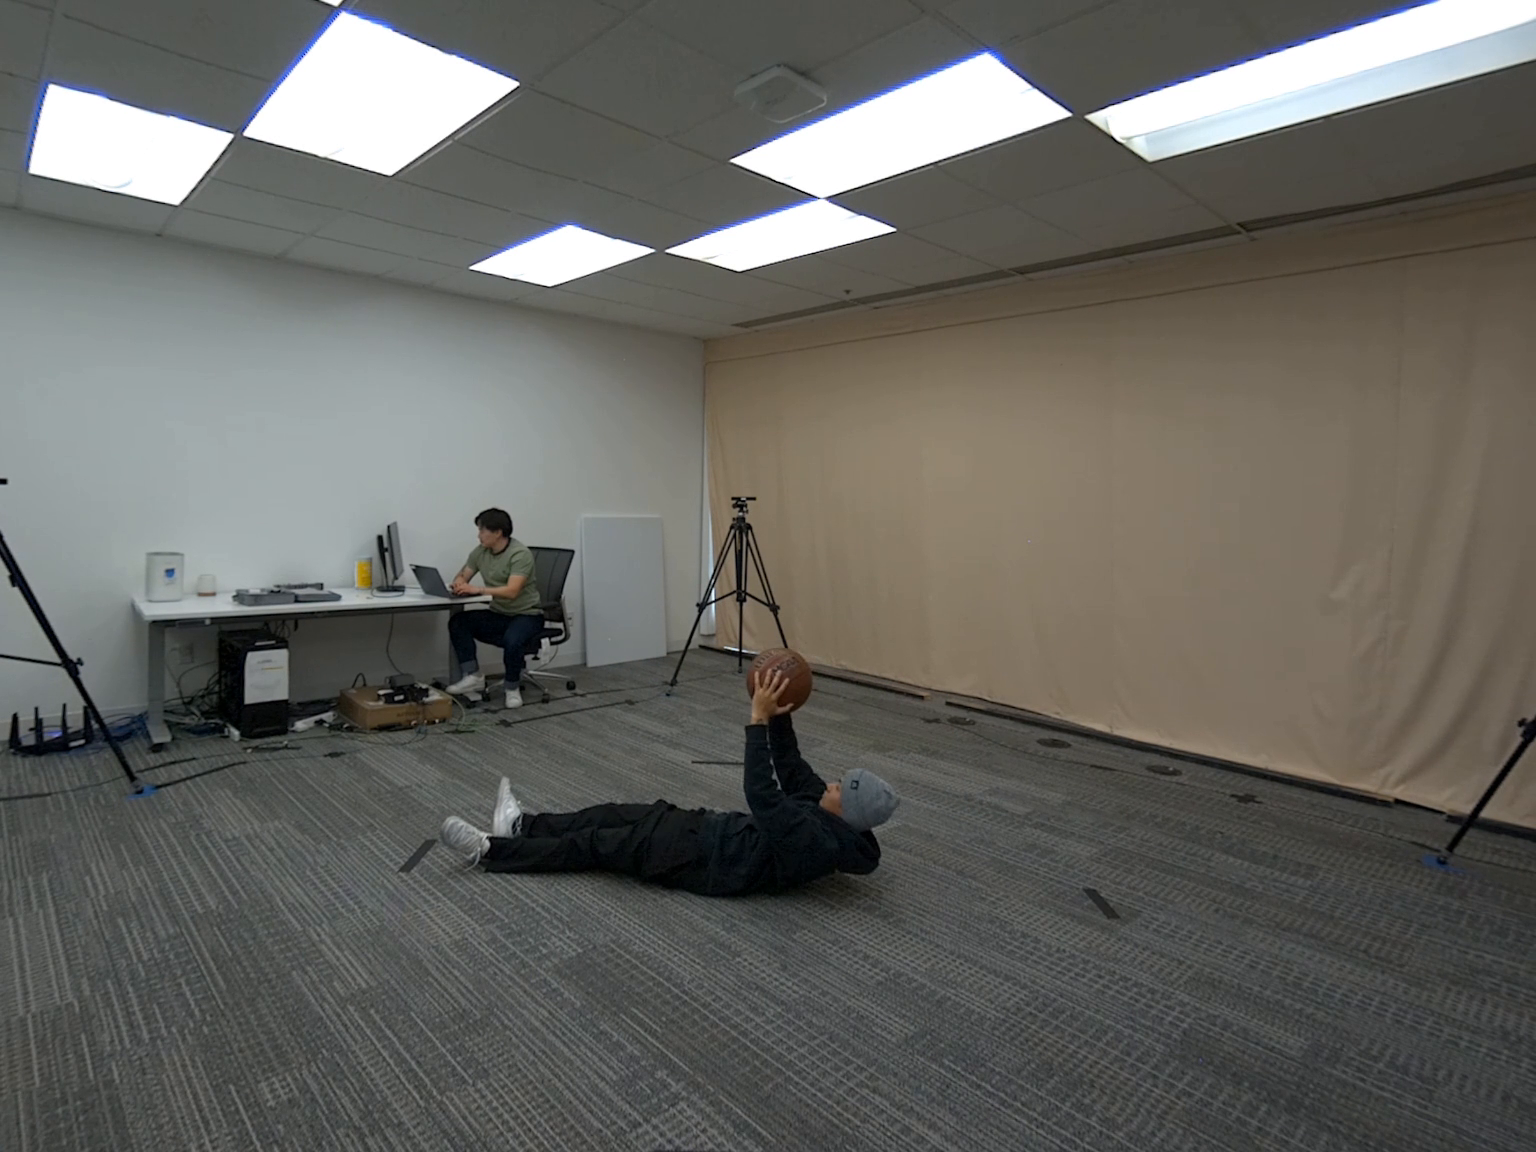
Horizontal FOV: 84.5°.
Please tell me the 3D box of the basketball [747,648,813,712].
[{"bbox_3d":[0.036,0.381,3.029,0.236,0.235,0.237,1,4,-1],"label":"basketball"}]
